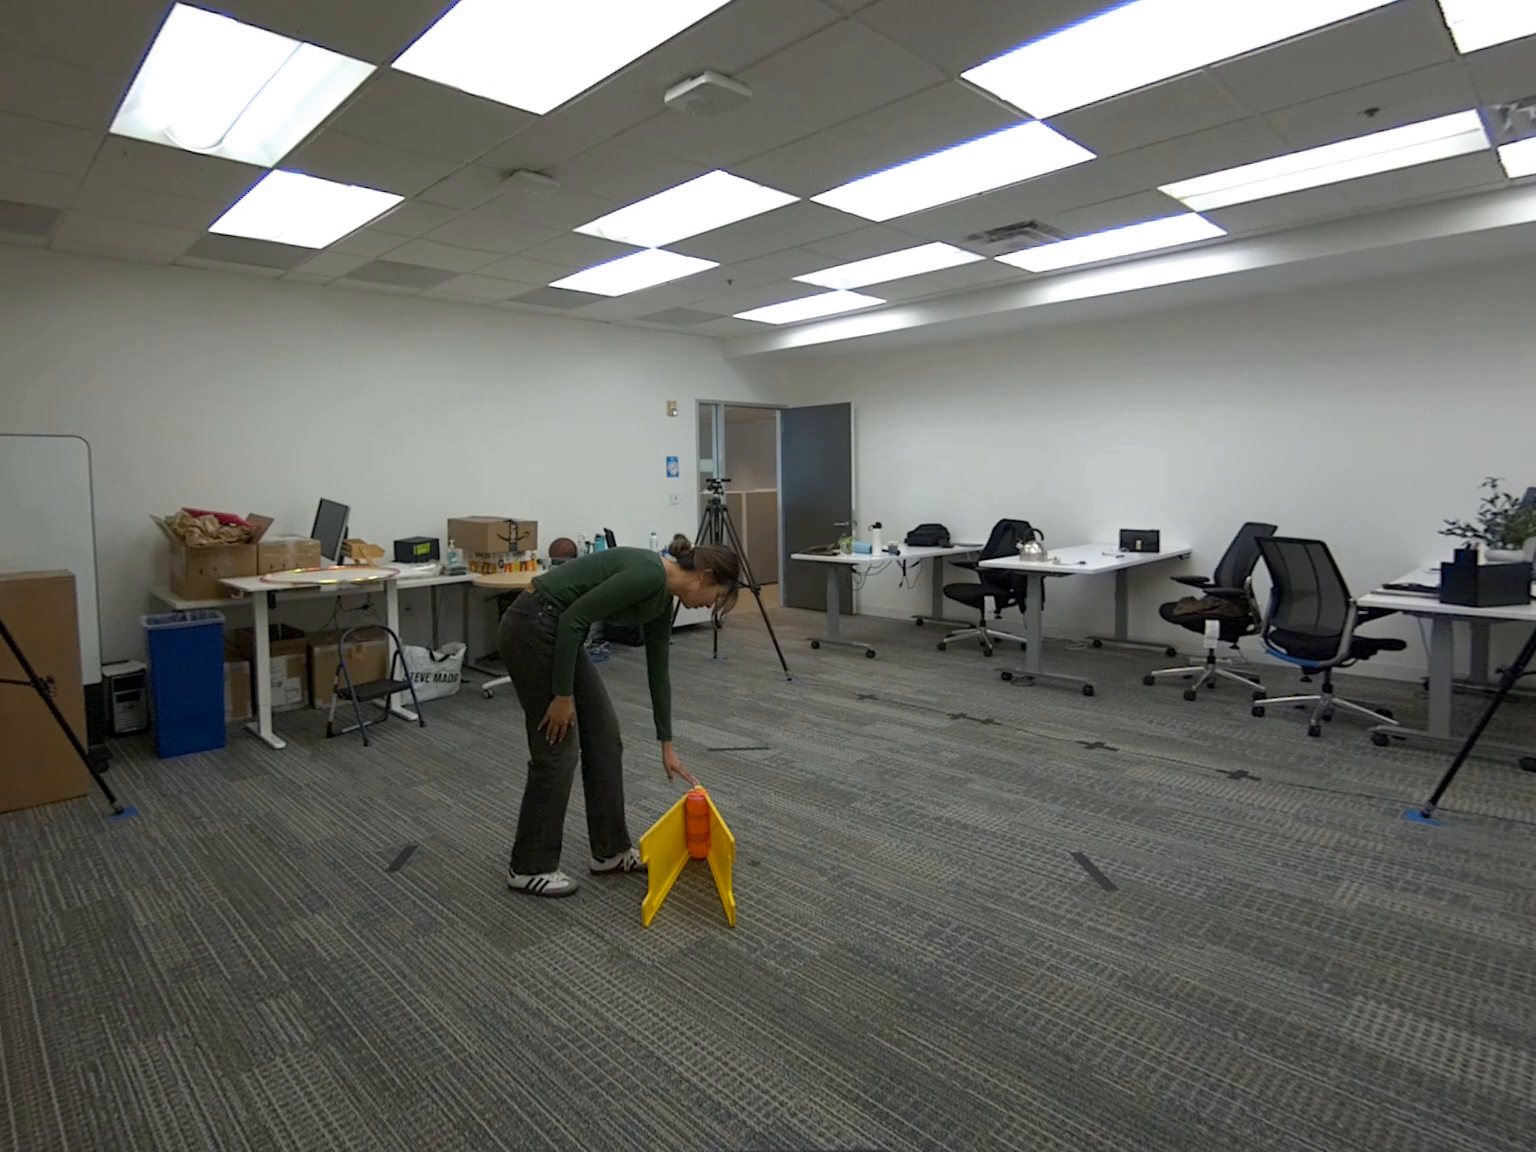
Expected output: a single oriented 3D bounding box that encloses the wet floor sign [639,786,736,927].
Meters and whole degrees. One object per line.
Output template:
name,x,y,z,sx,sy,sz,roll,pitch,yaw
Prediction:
wet floor sign,-0.256,0.928,2.987,0.290,0.281,0.648,-1,4,-1
